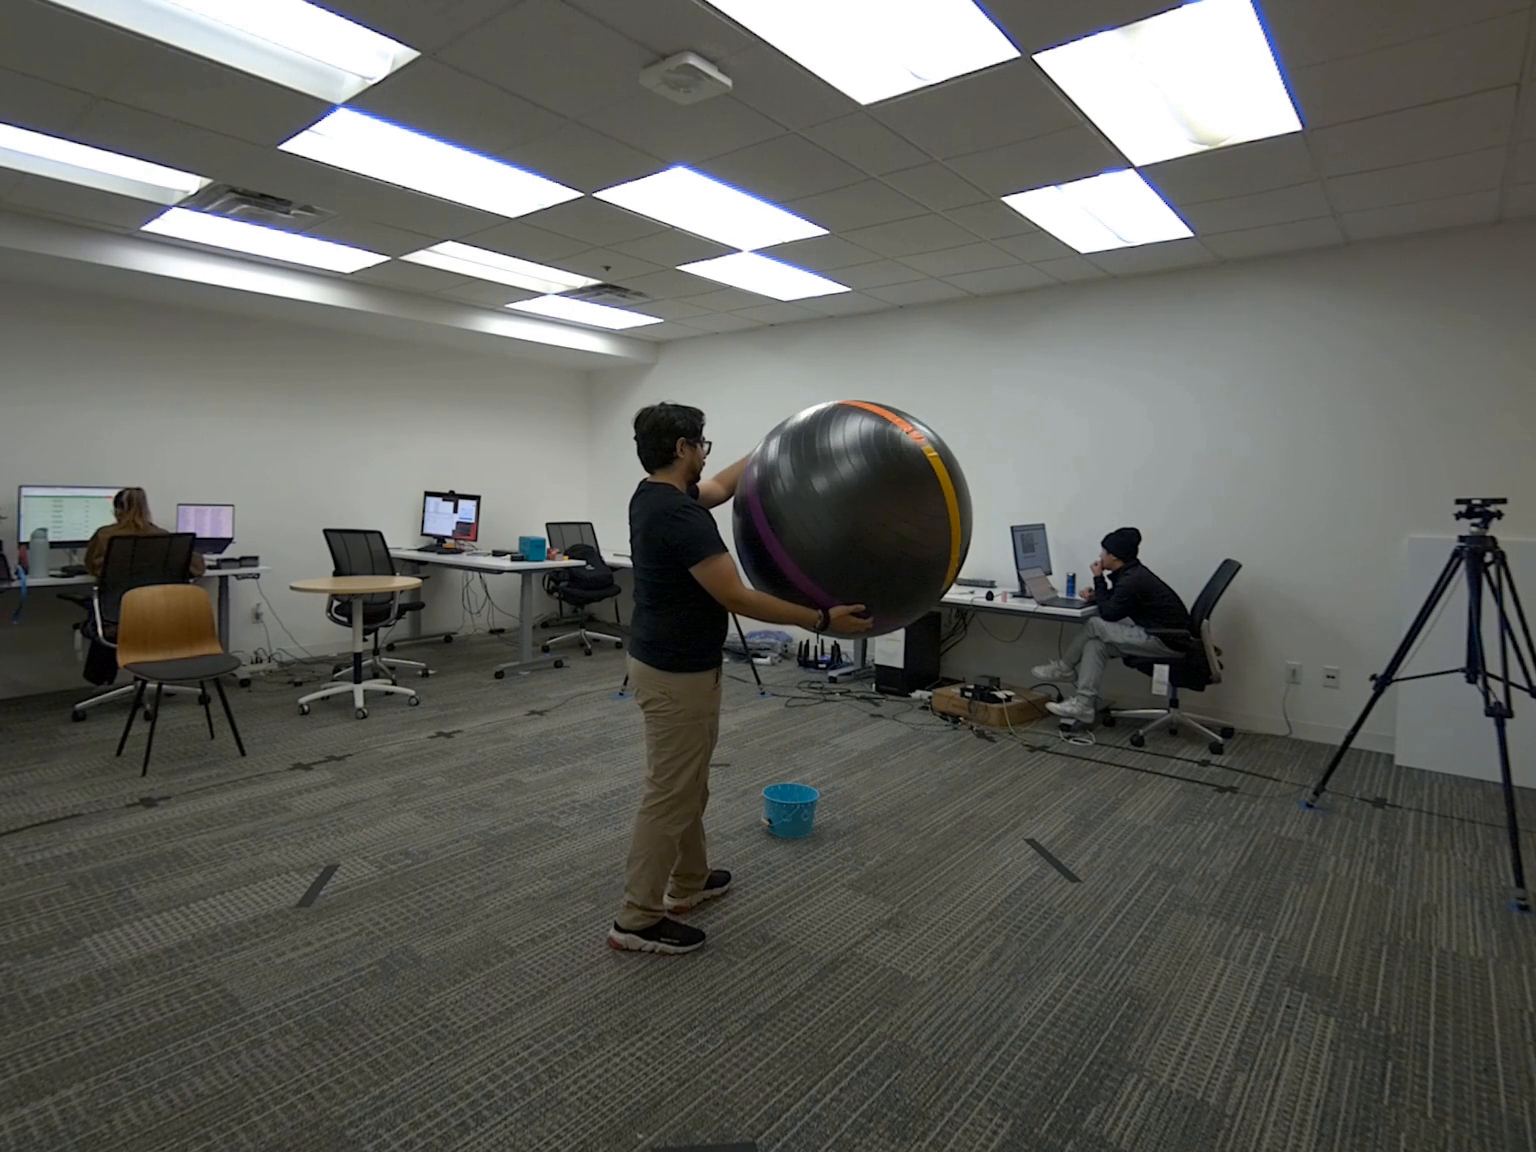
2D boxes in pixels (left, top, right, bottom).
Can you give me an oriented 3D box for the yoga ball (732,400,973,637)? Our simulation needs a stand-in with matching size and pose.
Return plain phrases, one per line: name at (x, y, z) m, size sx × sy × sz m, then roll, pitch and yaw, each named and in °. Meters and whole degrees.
yoga ball at (0.267, -0.178, 2.721) m, size 0.757 × 0.755 × 0.762 m, roll 1°, pitch 4°, yaw -2°
